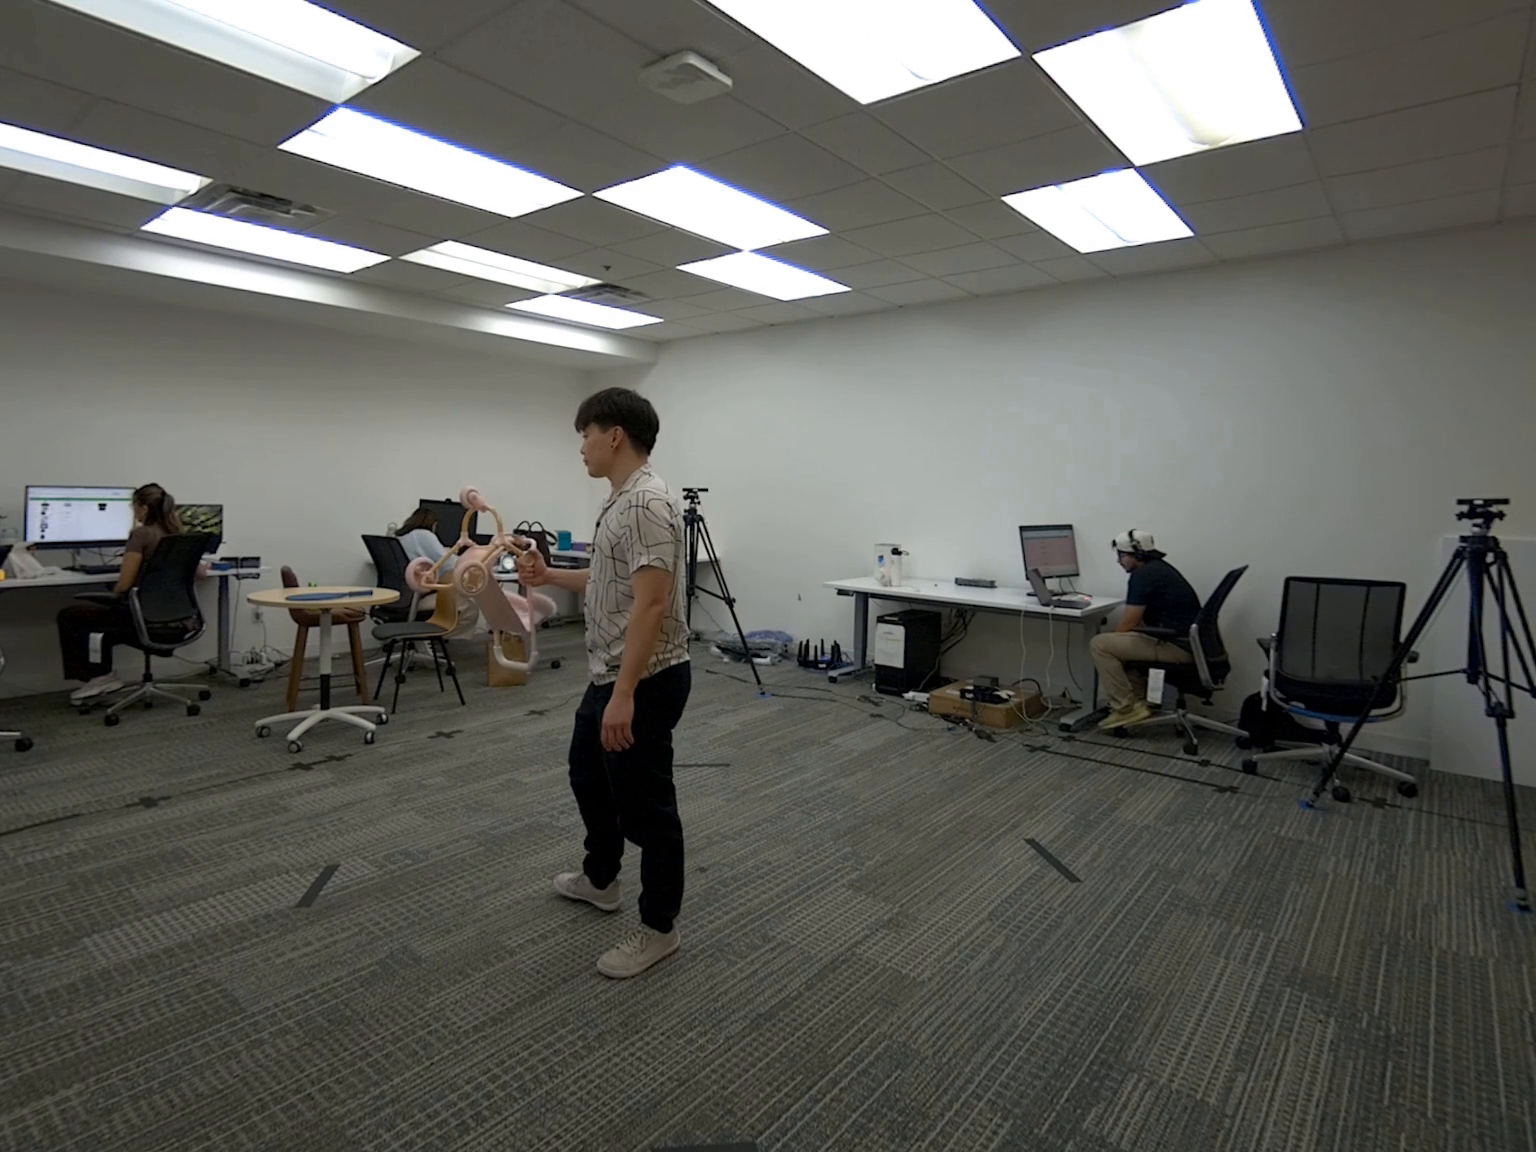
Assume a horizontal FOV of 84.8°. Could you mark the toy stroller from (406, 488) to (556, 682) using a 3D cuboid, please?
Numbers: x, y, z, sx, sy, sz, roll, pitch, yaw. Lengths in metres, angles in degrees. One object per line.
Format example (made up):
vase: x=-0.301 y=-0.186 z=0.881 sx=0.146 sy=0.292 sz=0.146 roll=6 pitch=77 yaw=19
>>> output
toy stroller: x=-0.867 y=0.008 z=2.666 sx=0.289 sy=0.345 sz=0.514 roll=-3 pitch=-42 yaw=35
